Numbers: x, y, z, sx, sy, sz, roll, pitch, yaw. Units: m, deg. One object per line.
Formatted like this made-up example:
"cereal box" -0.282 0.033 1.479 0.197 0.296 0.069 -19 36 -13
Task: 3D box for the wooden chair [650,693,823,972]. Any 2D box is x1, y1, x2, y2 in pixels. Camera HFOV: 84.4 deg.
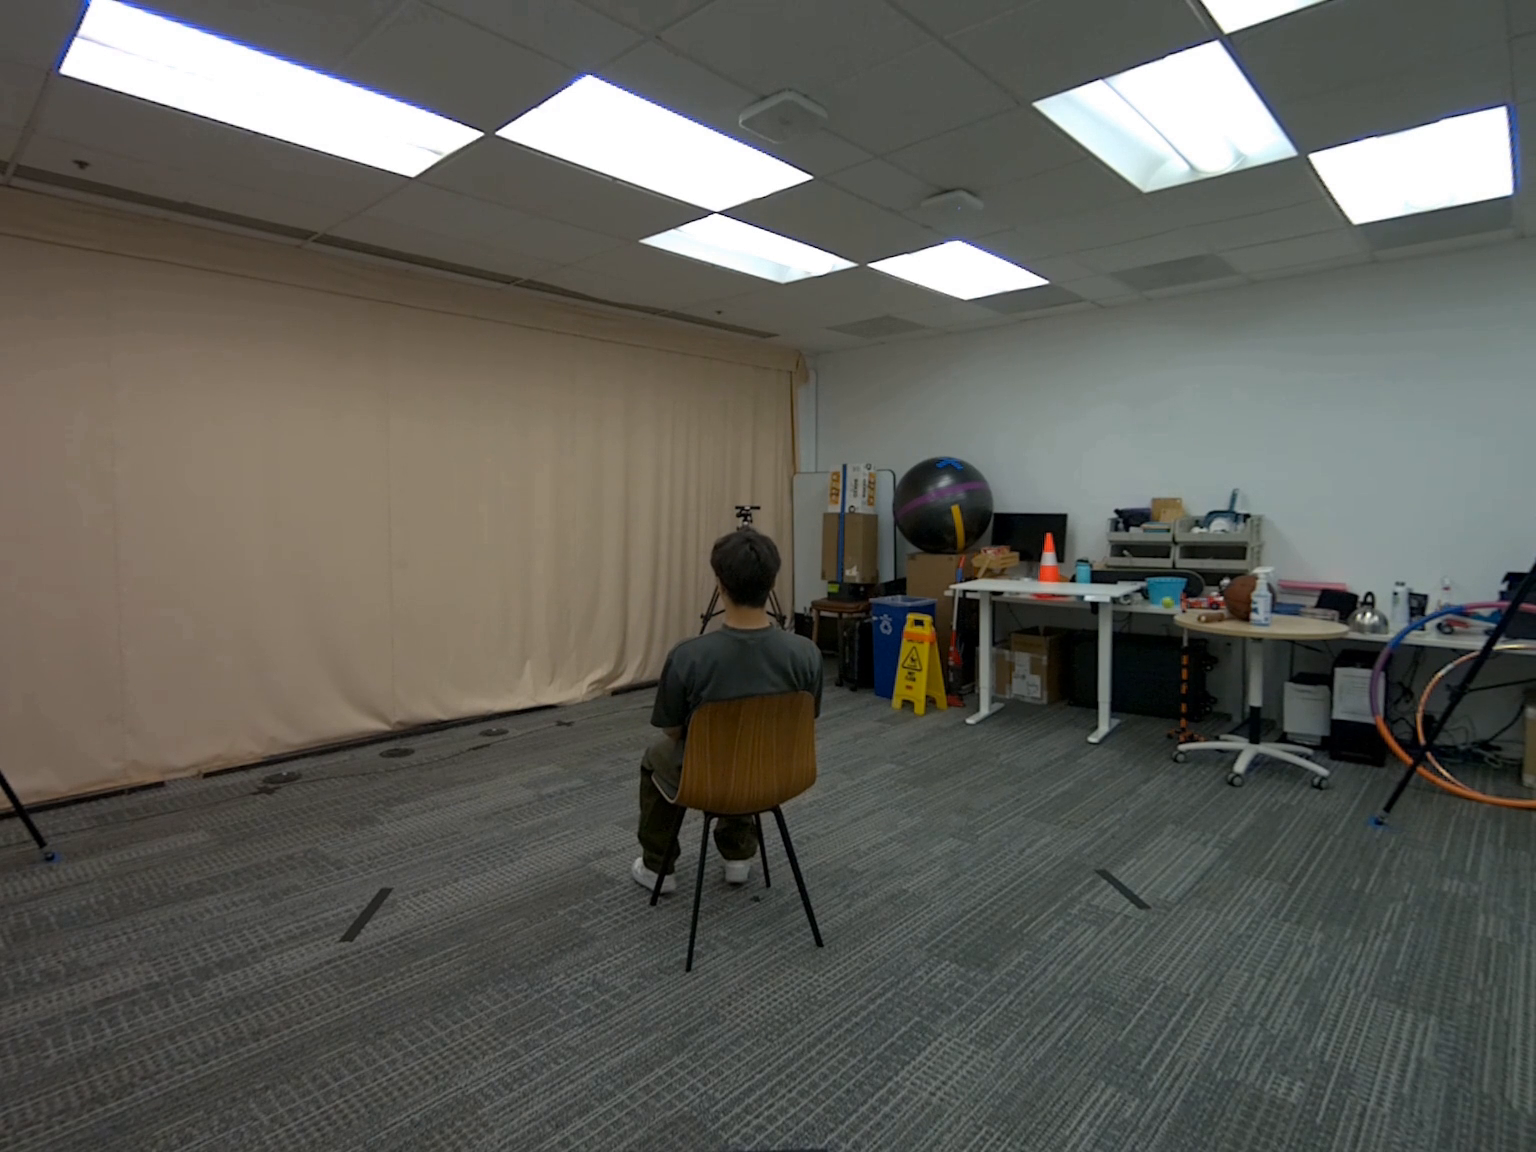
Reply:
"wooden chair" -0.118 0.729 2.773 0.469 0.873 0.536 -2 8 -20
